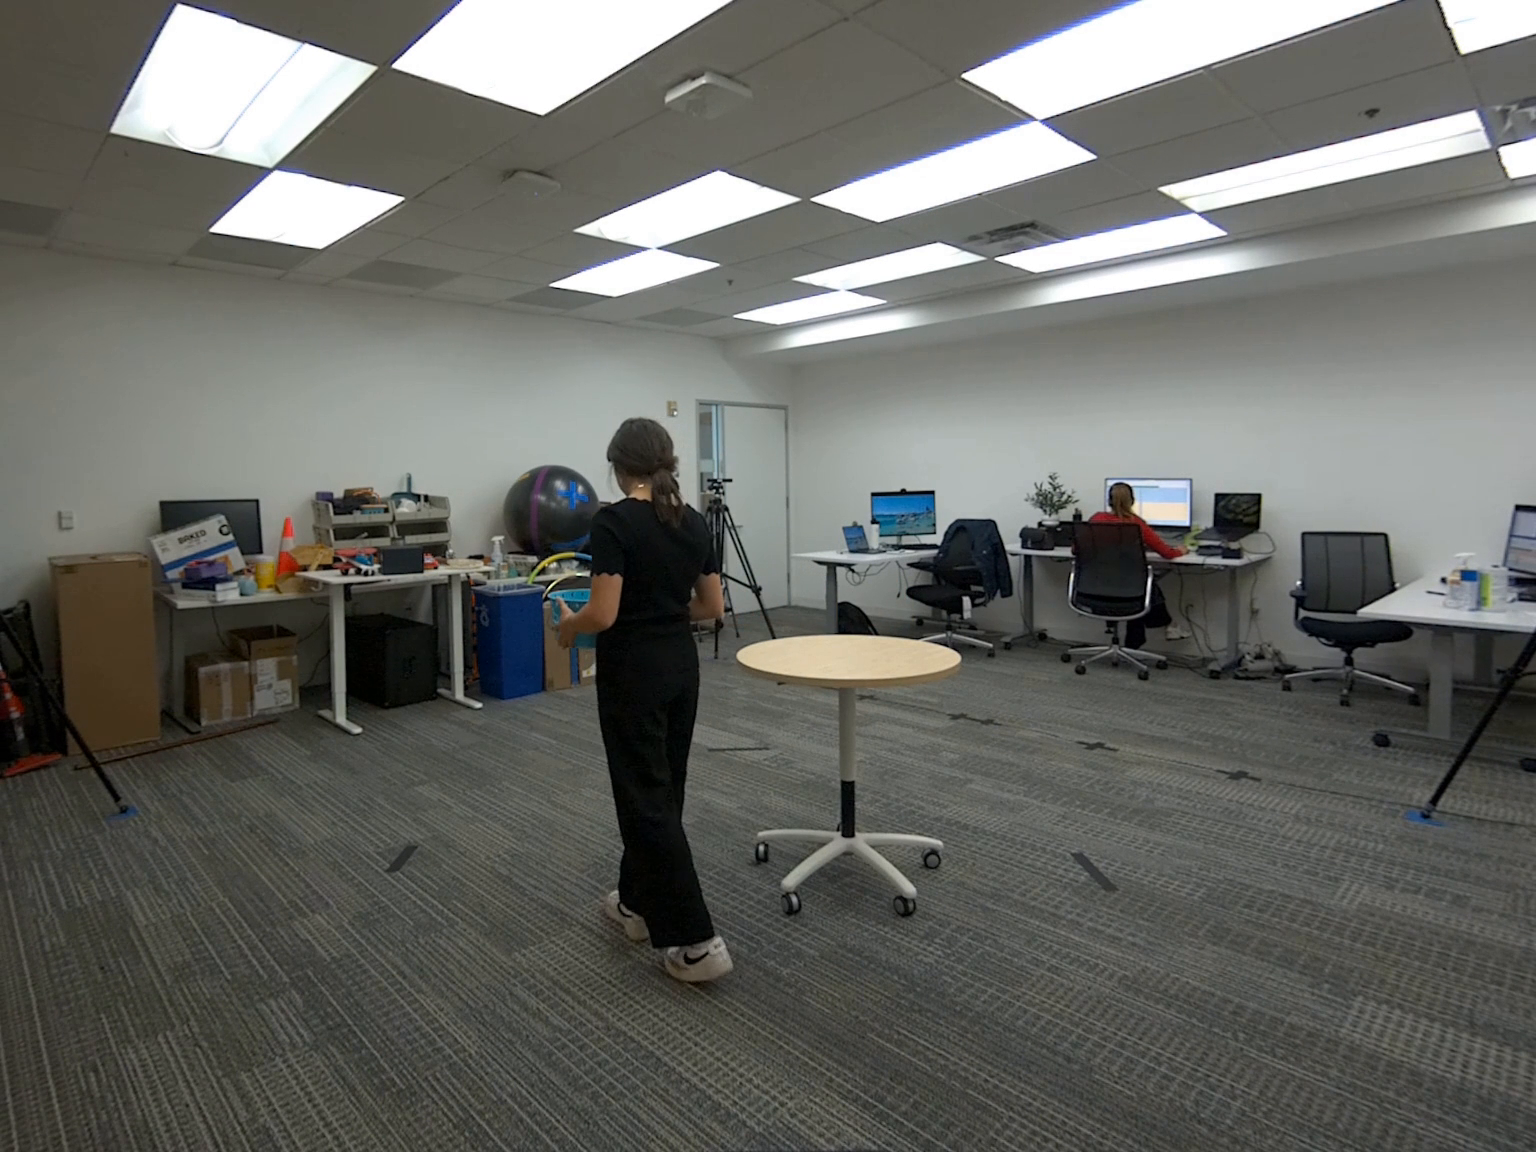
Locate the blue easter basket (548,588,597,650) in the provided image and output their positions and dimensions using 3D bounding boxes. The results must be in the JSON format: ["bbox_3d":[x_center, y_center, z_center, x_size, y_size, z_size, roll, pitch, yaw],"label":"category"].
[{"bbox_3d":[-0.560,0.133,2.682,0.243,0.155,0.245,0,9,-2],"label":"blue easter basket"}]
